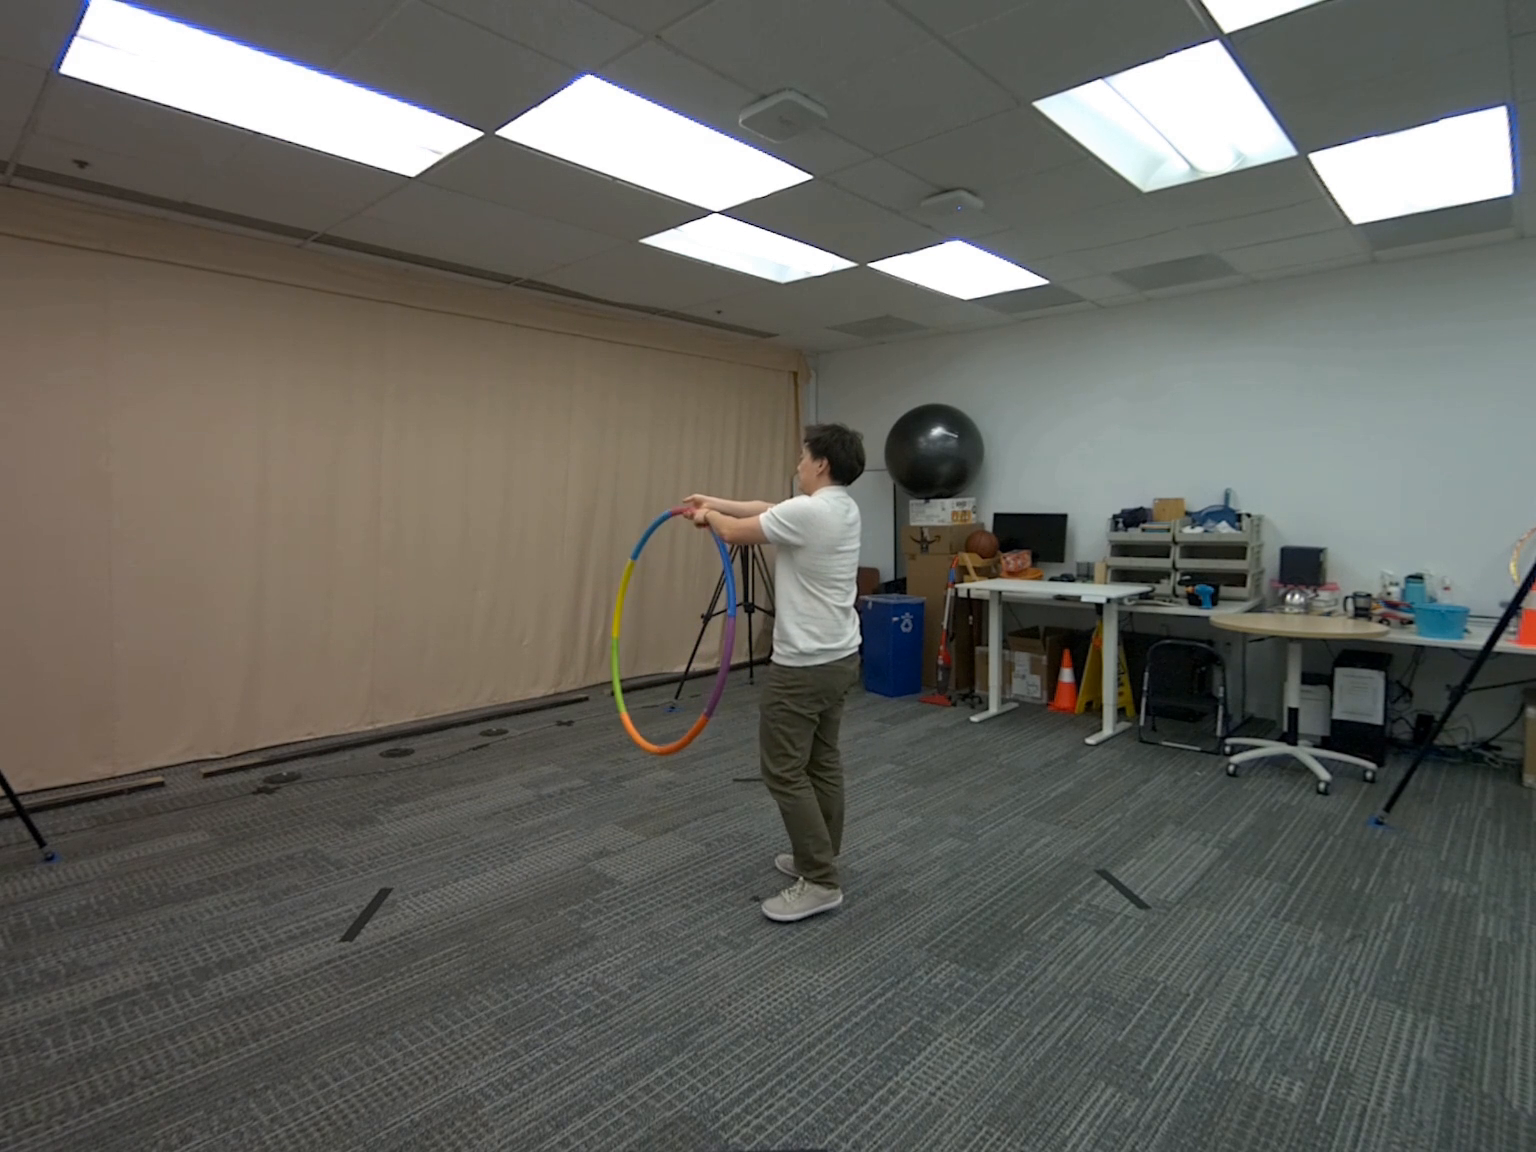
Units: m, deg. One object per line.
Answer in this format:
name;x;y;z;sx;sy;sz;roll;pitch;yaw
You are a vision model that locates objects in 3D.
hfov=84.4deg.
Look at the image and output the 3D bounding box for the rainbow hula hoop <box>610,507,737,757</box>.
rainbow hula hoop;-0.404;0.209;3.384;0.034;0.979;1.009;9;-2;-34
